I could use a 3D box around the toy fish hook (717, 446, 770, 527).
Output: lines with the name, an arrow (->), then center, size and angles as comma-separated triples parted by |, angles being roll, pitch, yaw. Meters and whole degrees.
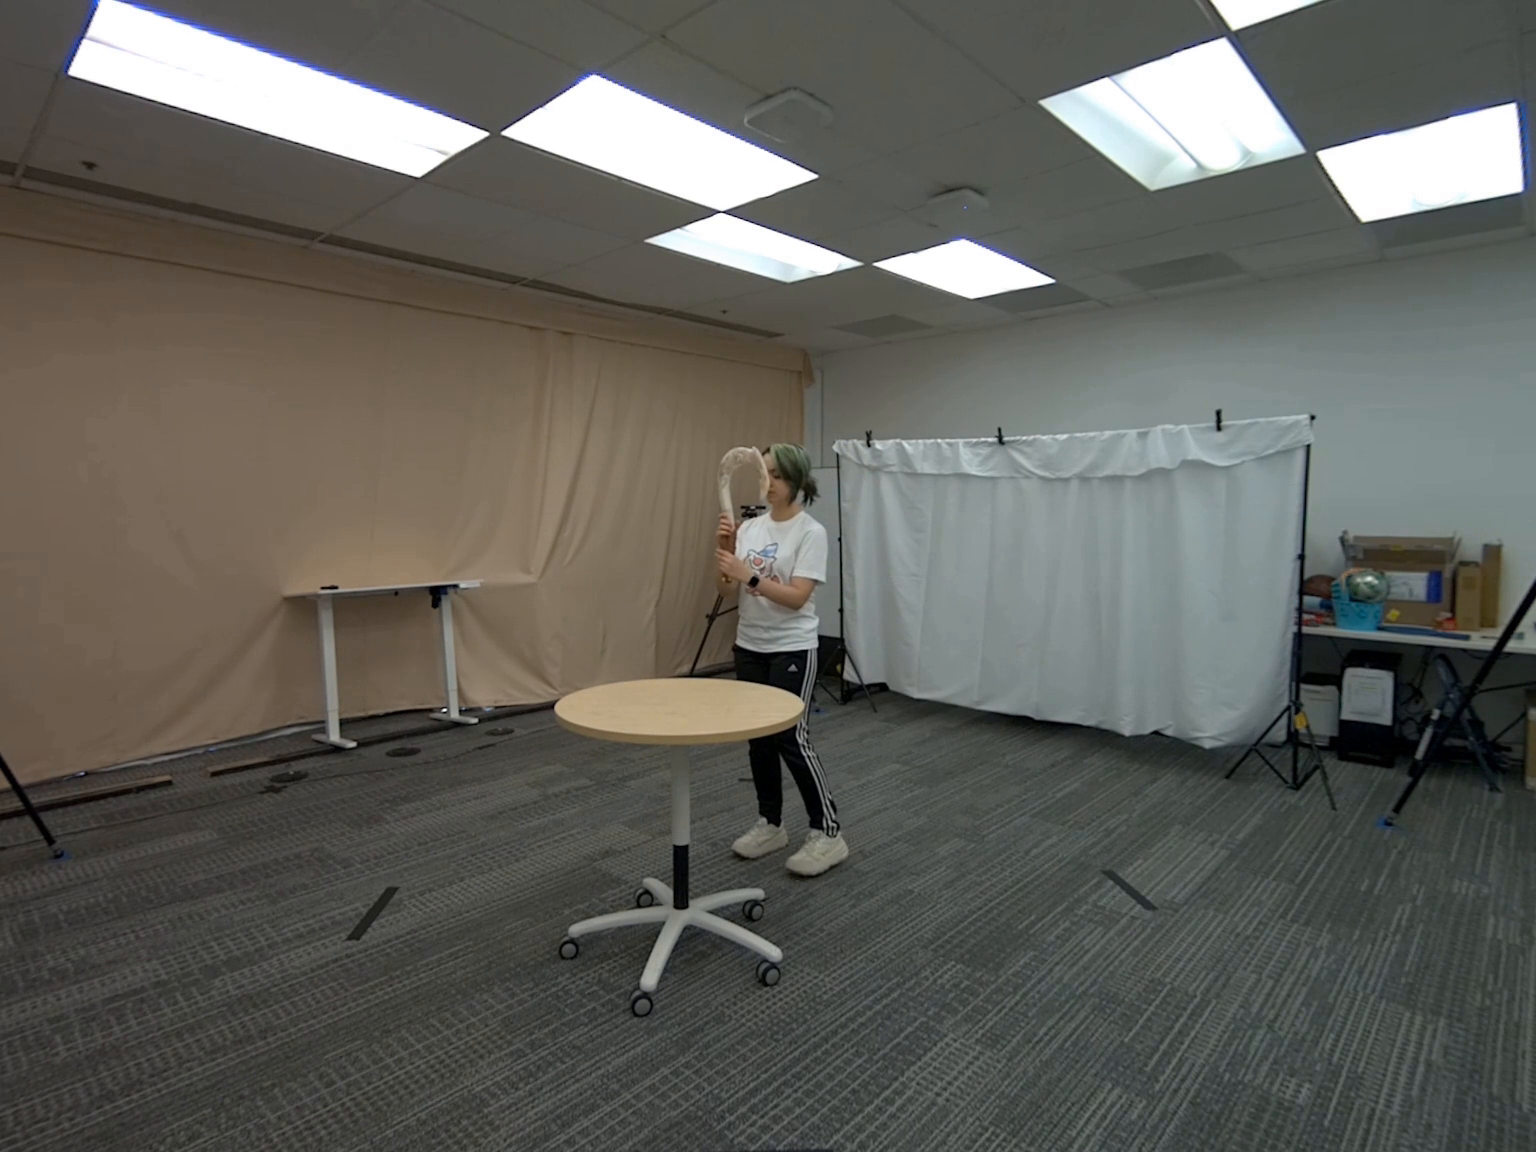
toy fish hook -> -0.092, -0.228, 3.137 | 0.232, 0.506, 0.047 | 4, 3, 36
